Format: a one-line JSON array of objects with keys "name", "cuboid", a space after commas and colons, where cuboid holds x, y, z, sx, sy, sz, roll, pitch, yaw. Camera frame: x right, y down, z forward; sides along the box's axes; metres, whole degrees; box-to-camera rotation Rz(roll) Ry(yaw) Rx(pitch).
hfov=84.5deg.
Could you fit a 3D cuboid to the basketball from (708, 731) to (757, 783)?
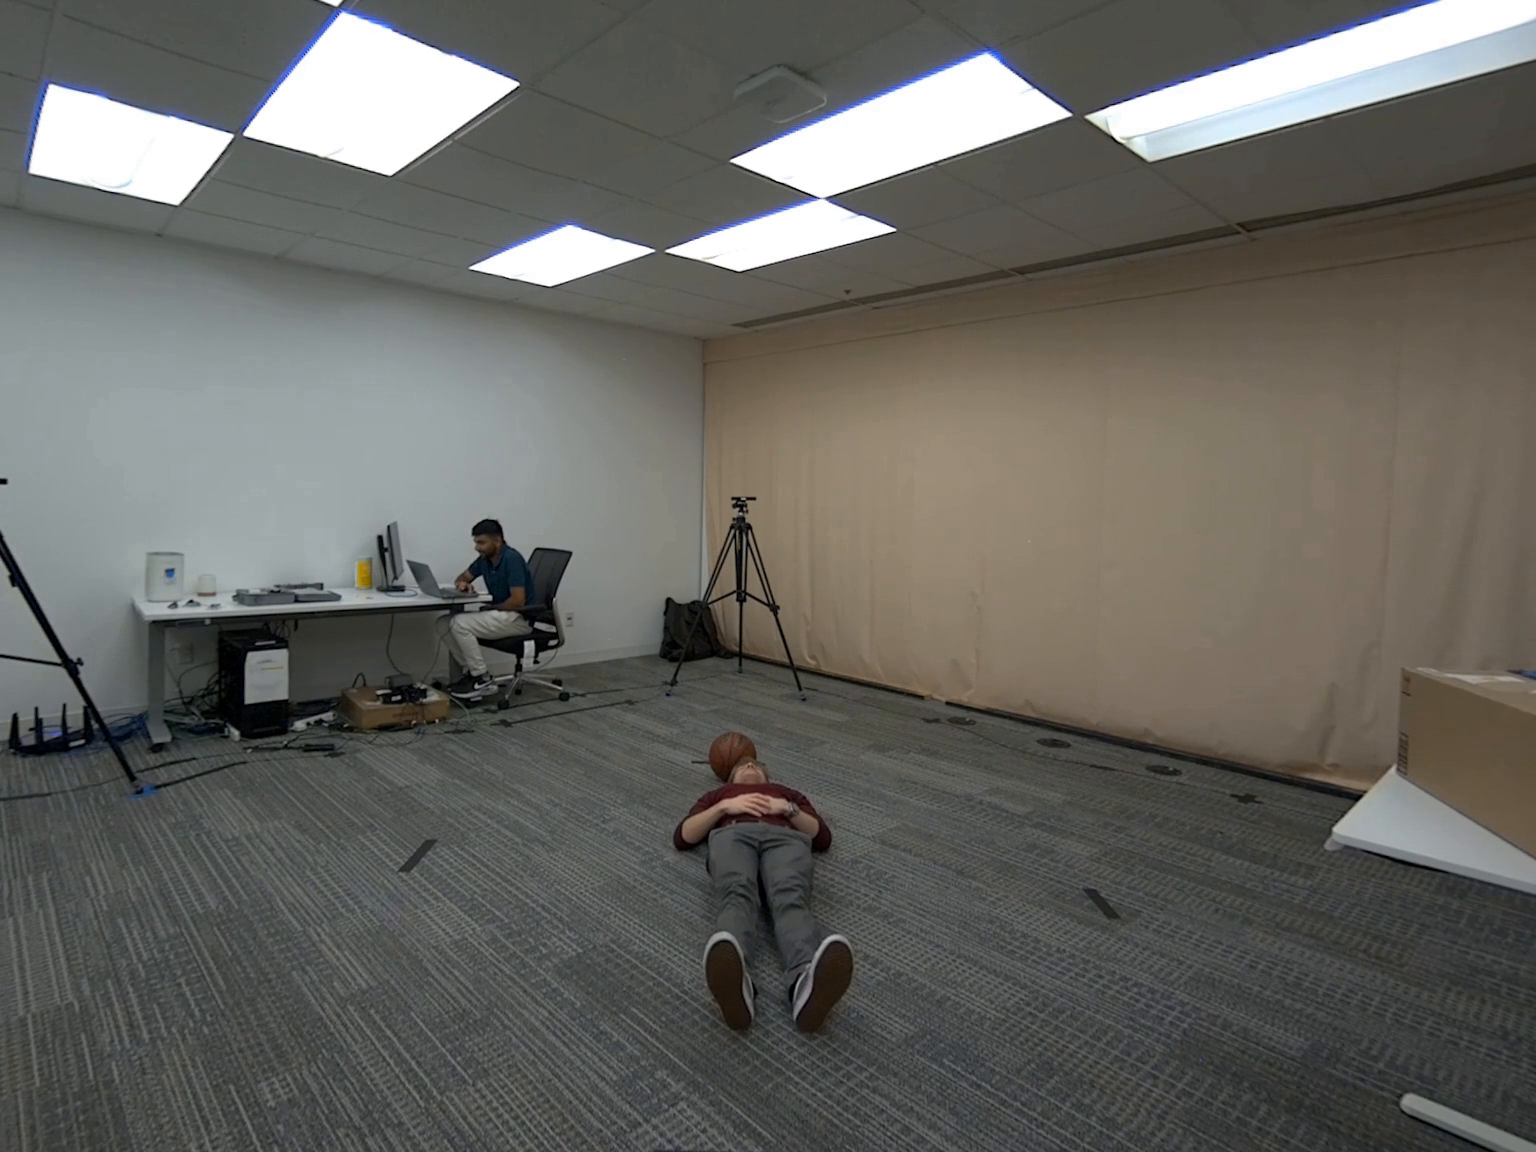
[{"name": "basketball", "cuboid": [-0.190, 0.894, 4.168, 0.236, 0.235, 0.237, 1, 4, -1]}]
